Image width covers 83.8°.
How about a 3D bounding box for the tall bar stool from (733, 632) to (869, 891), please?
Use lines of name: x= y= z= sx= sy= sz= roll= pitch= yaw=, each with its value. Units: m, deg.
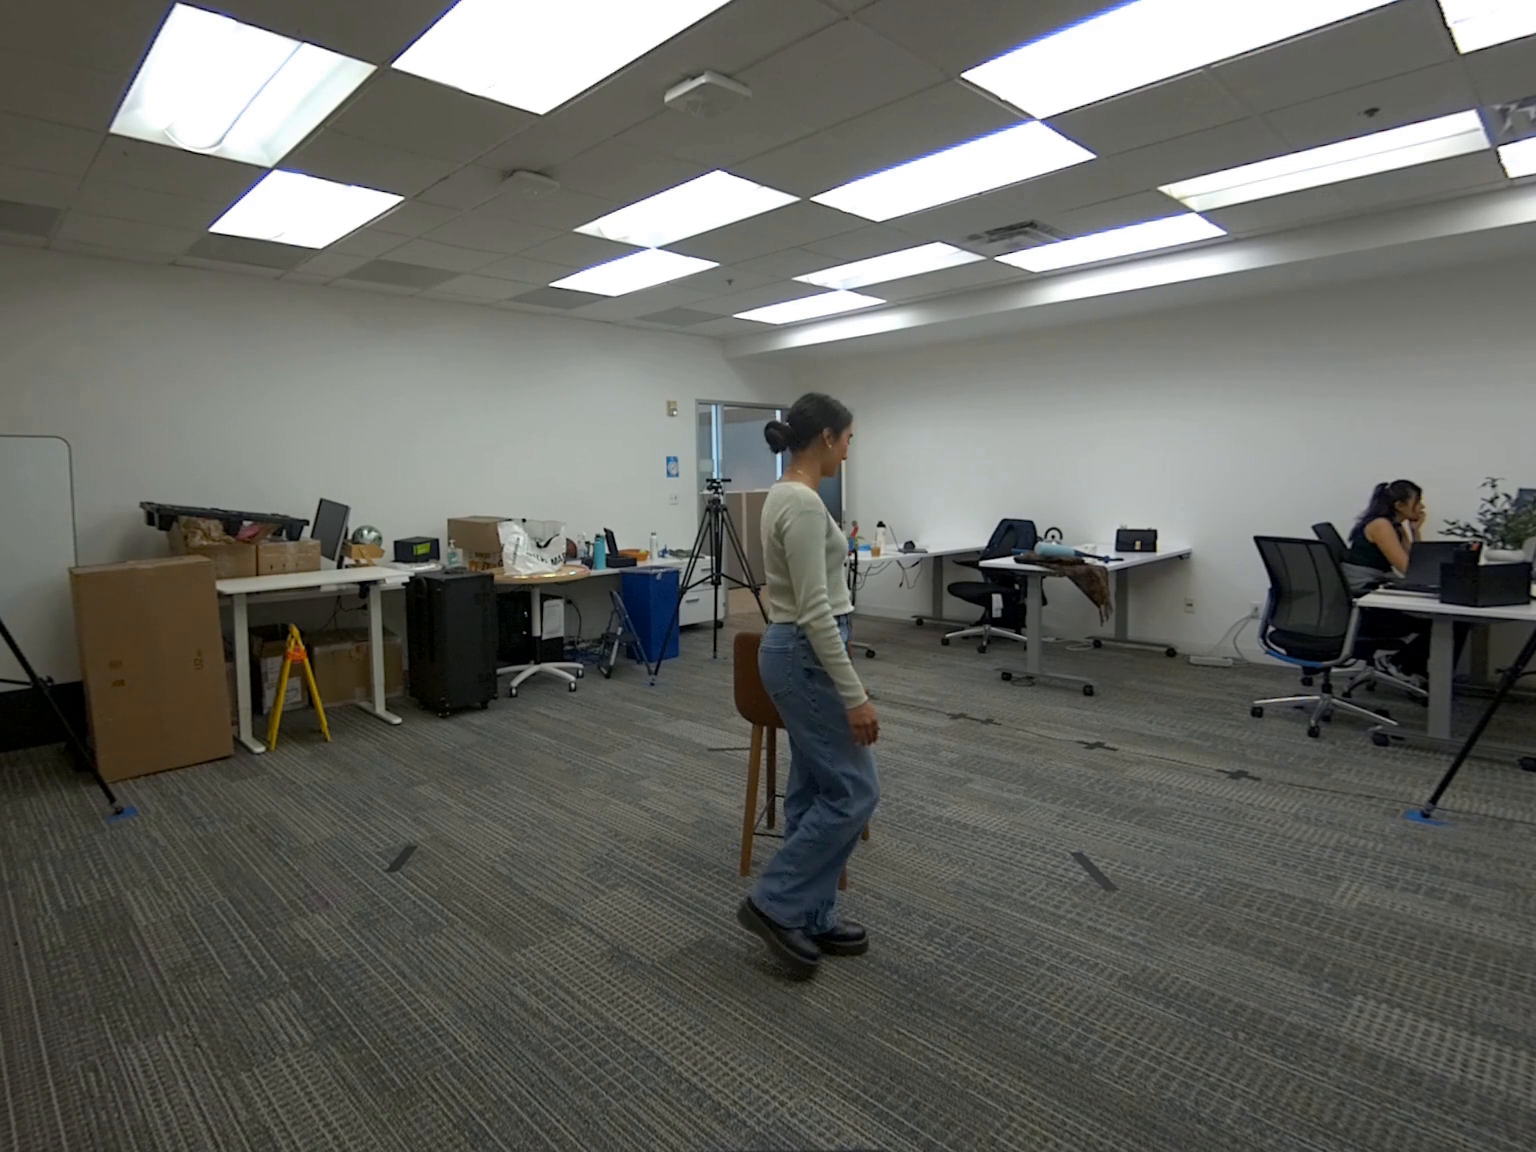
tall bar stool: x=0.133 y=0.600 z=3.126 sx=0.465 sy=0.885 sz=0.462 roll=0 pitch=6 yaw=18
